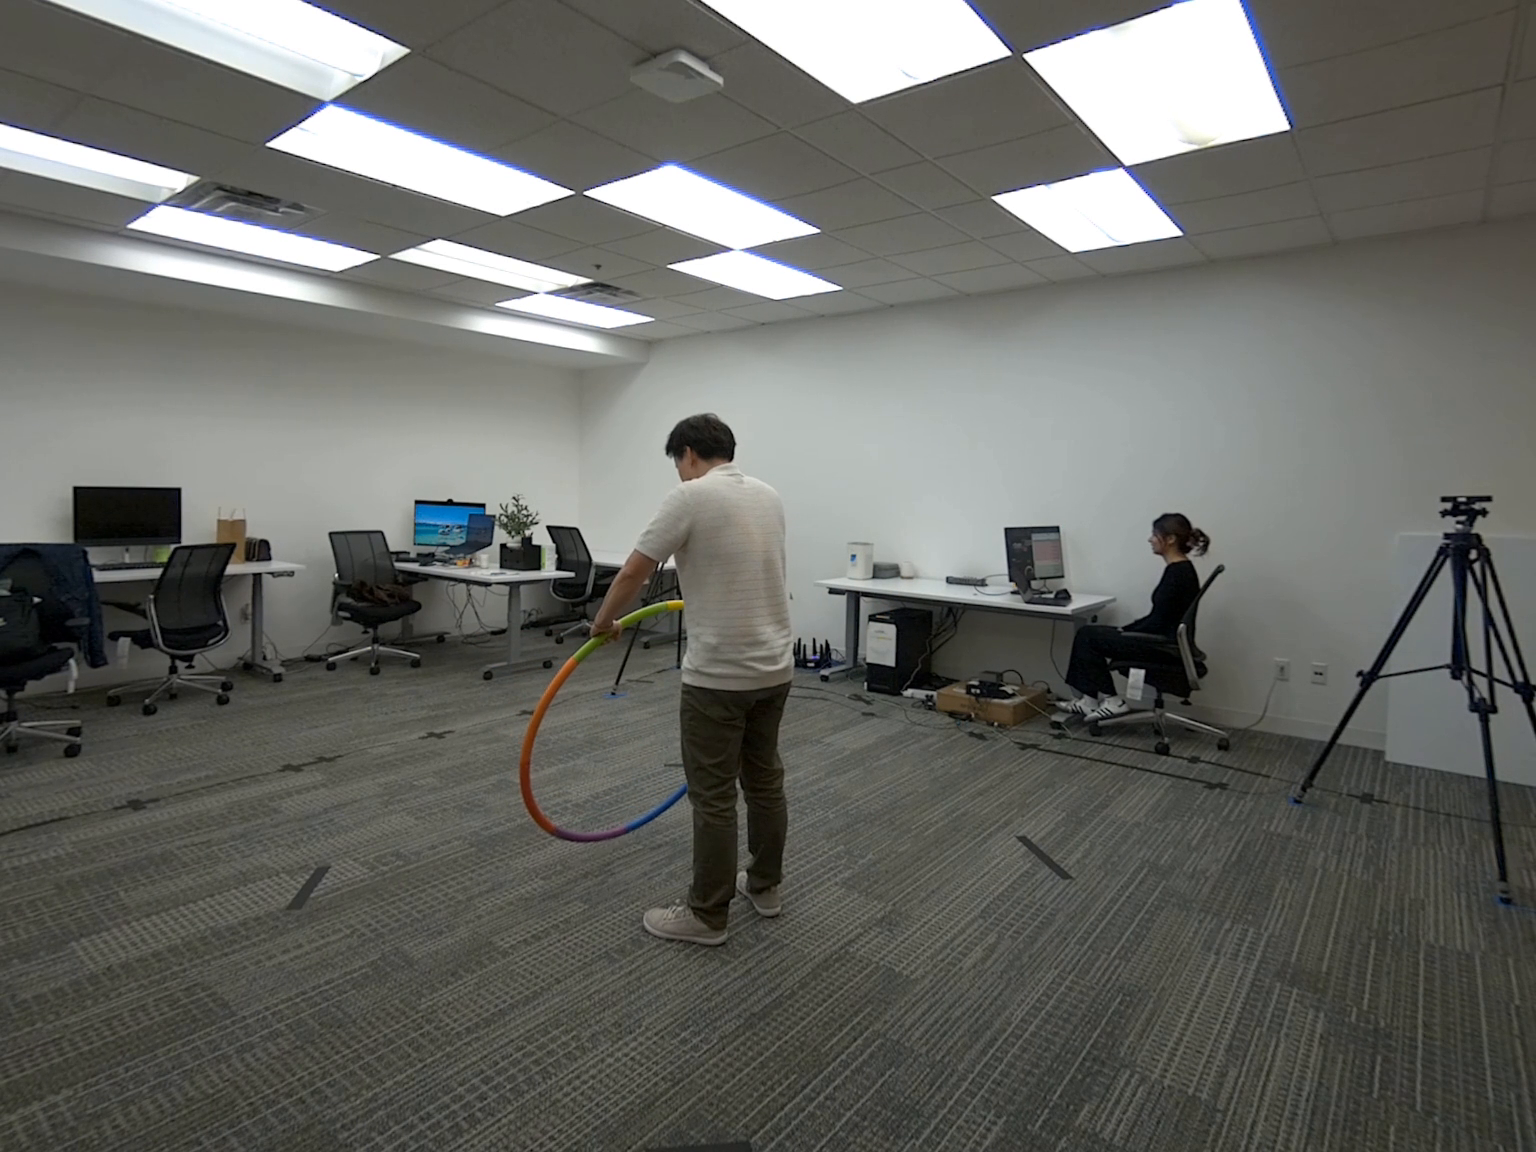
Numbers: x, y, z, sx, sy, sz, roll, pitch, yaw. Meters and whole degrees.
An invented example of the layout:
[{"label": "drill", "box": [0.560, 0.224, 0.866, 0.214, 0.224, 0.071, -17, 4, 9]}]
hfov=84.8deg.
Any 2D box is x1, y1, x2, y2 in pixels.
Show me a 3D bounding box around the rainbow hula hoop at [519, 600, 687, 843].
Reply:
[{"label": "rainbow hula hoop", "box": [-0.467, 0.539, 3.082, 0.949, 0.968, 0.037, -3, 25, -45]}]
